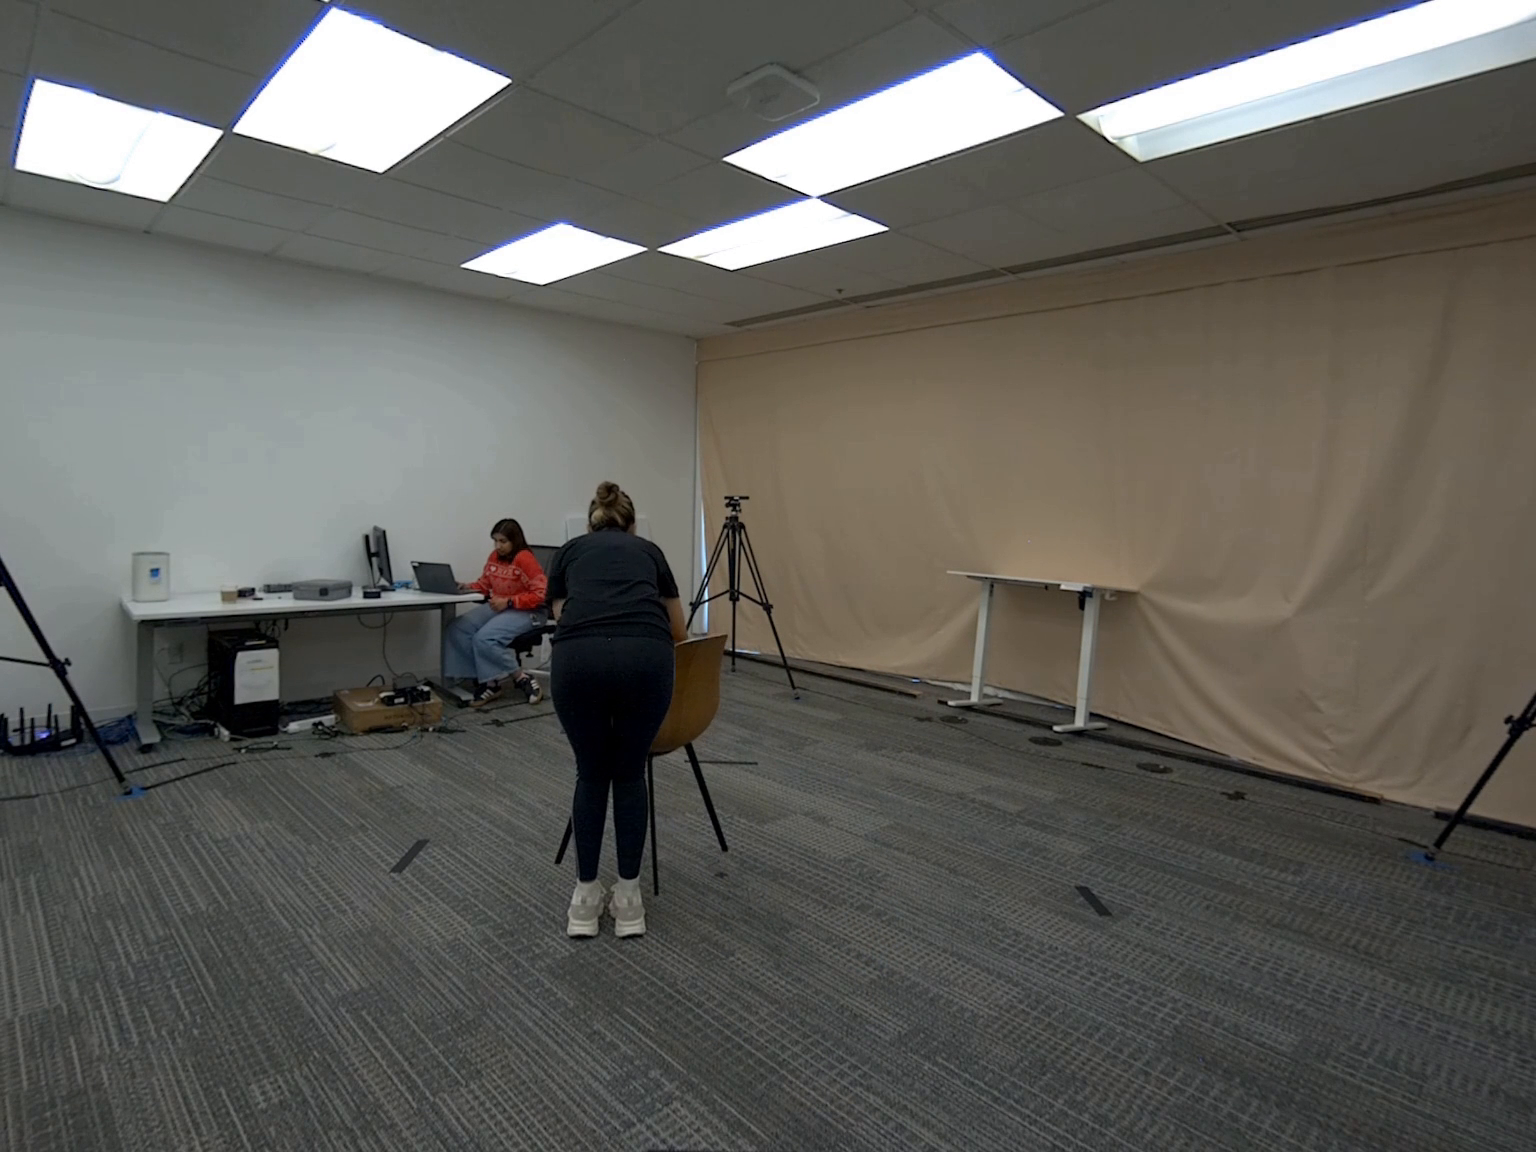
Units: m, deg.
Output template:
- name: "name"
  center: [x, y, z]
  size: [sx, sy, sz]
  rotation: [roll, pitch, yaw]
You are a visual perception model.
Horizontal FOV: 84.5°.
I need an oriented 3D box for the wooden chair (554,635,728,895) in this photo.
- name: "wooden chair"
  center: [-0.457, 0.606, 3.070]
  size: [0.535, 0.874, 0.468]
  rotation: [8, 6, 30]
